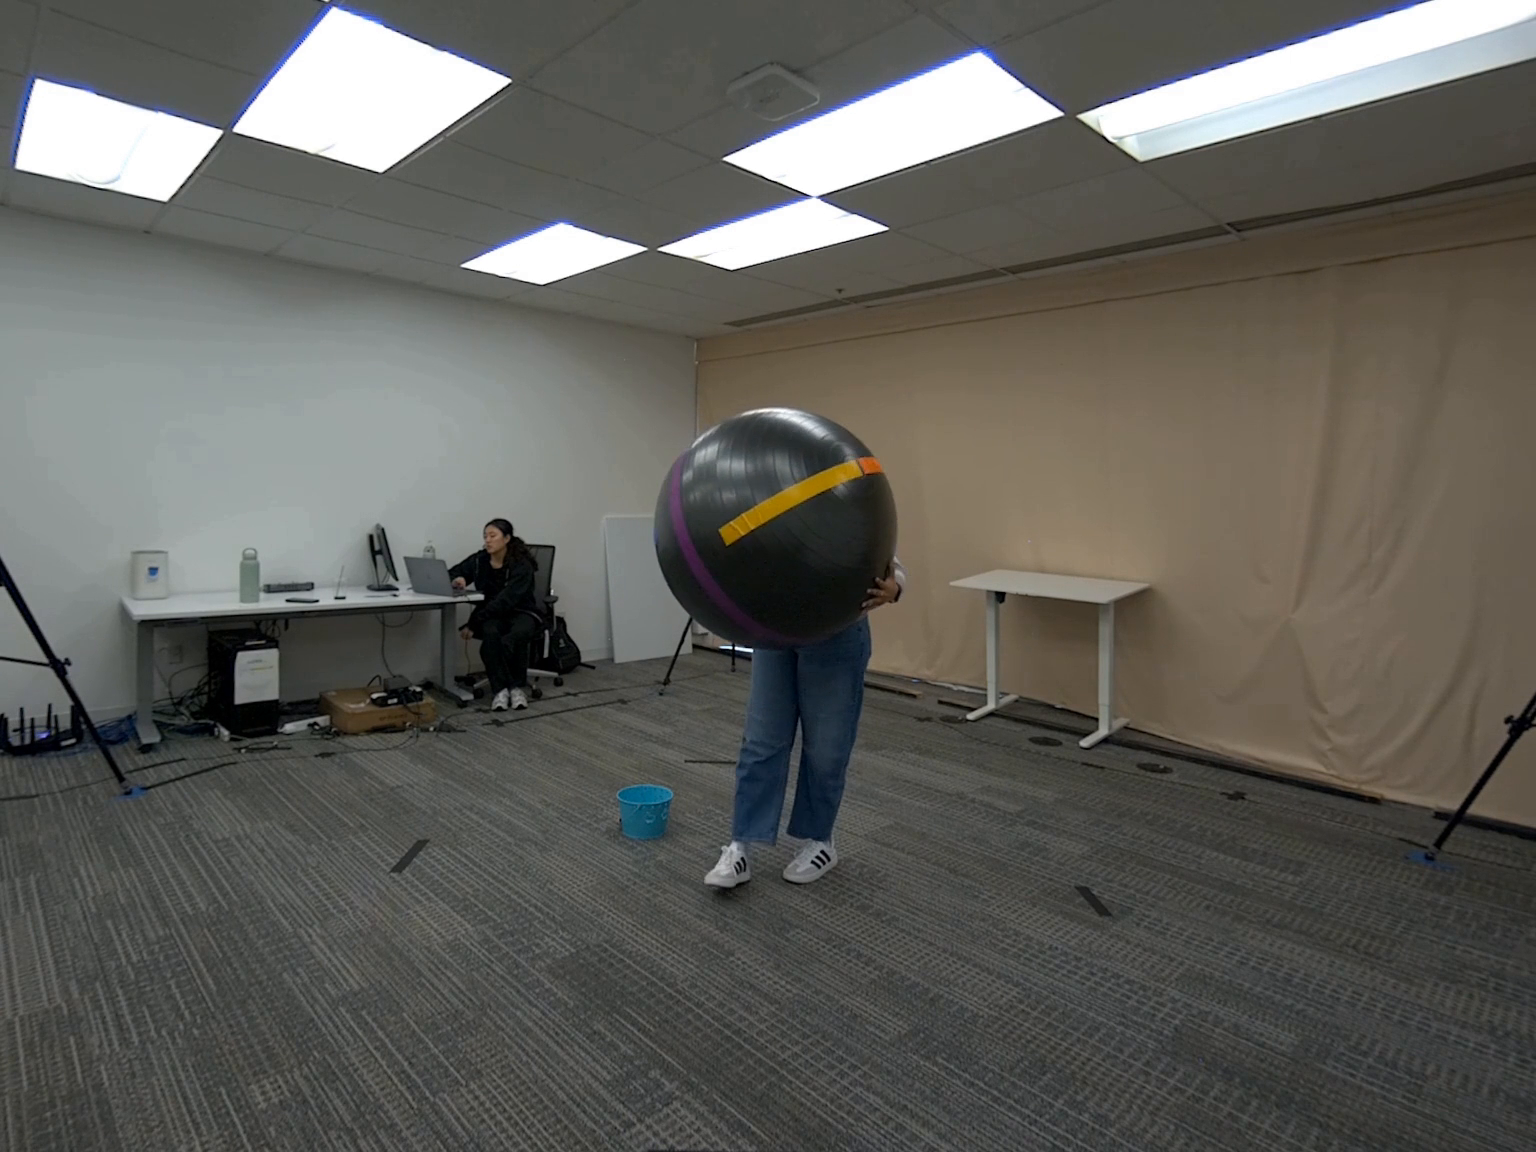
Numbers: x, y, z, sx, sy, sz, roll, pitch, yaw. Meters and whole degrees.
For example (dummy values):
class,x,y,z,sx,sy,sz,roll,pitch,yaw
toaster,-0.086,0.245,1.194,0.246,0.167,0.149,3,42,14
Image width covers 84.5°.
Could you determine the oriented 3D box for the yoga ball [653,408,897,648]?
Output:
class,x,y,z,sx,sy,sz,roll,pitch,yaw
yoga ball,0.020,-0.142,2.640,0.757,0.756,0.761,1,4,-1
